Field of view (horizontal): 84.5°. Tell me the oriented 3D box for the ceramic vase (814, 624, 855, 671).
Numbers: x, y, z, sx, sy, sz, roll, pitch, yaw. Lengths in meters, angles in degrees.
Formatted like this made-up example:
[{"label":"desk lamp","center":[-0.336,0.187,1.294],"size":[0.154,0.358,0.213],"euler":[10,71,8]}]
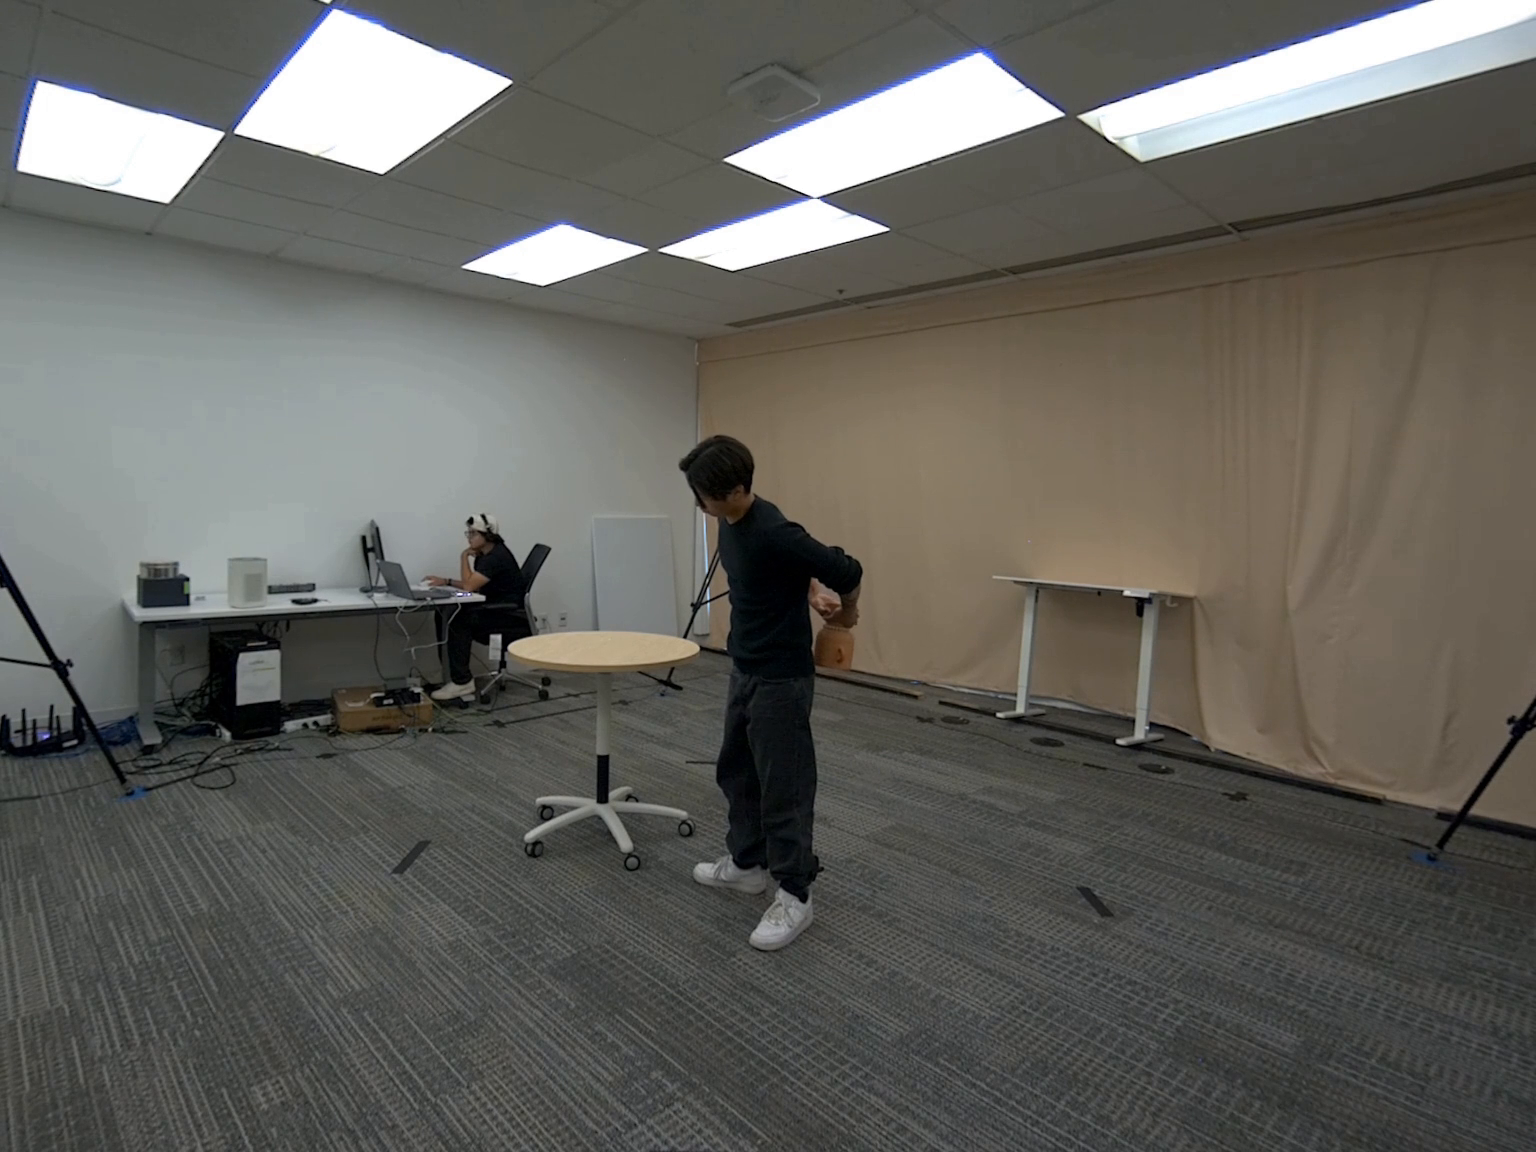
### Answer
[{"label":"ceramic vase","center":[0.219,0.198,2.909],"size":[0.163,0.220,0.131],"euler":[8,0,38]}]
